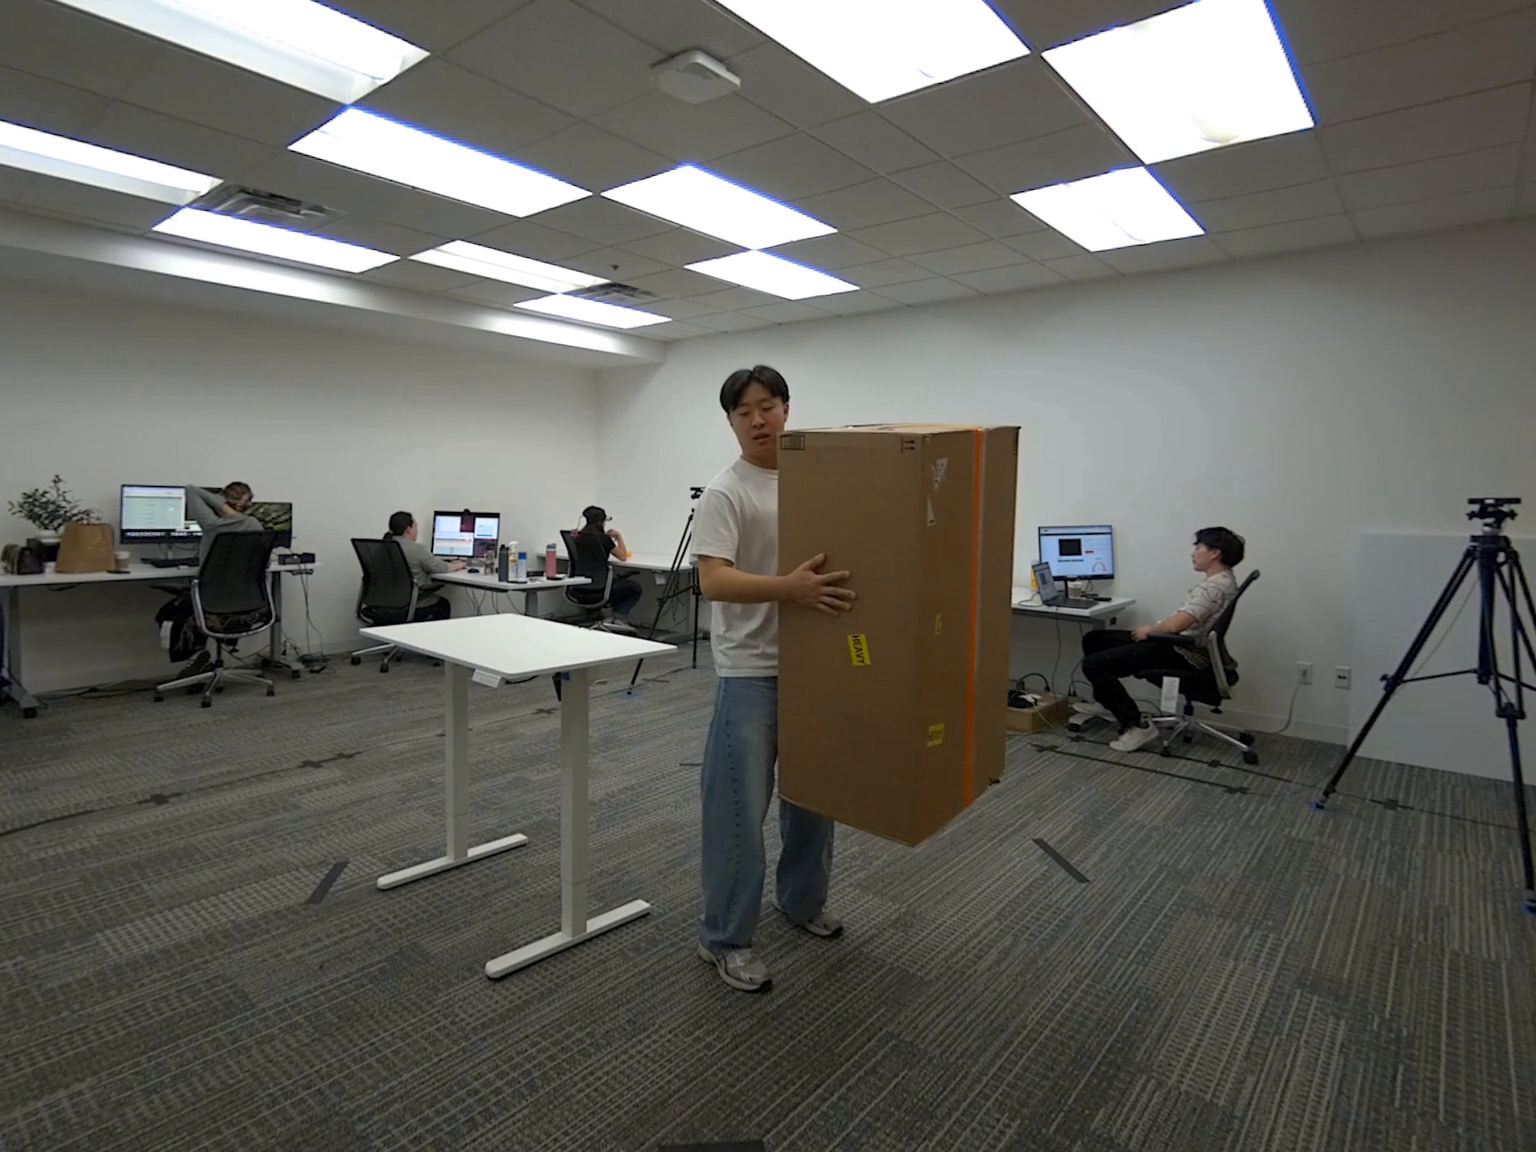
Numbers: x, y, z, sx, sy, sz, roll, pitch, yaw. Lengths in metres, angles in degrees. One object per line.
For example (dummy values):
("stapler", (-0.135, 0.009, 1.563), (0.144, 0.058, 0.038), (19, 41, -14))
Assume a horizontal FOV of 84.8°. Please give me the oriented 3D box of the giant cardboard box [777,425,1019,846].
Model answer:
("giant cardboard box", (0.362, 0.102, 2.366), (0.441, 1.017, 0.562), (7, 12, 40))
